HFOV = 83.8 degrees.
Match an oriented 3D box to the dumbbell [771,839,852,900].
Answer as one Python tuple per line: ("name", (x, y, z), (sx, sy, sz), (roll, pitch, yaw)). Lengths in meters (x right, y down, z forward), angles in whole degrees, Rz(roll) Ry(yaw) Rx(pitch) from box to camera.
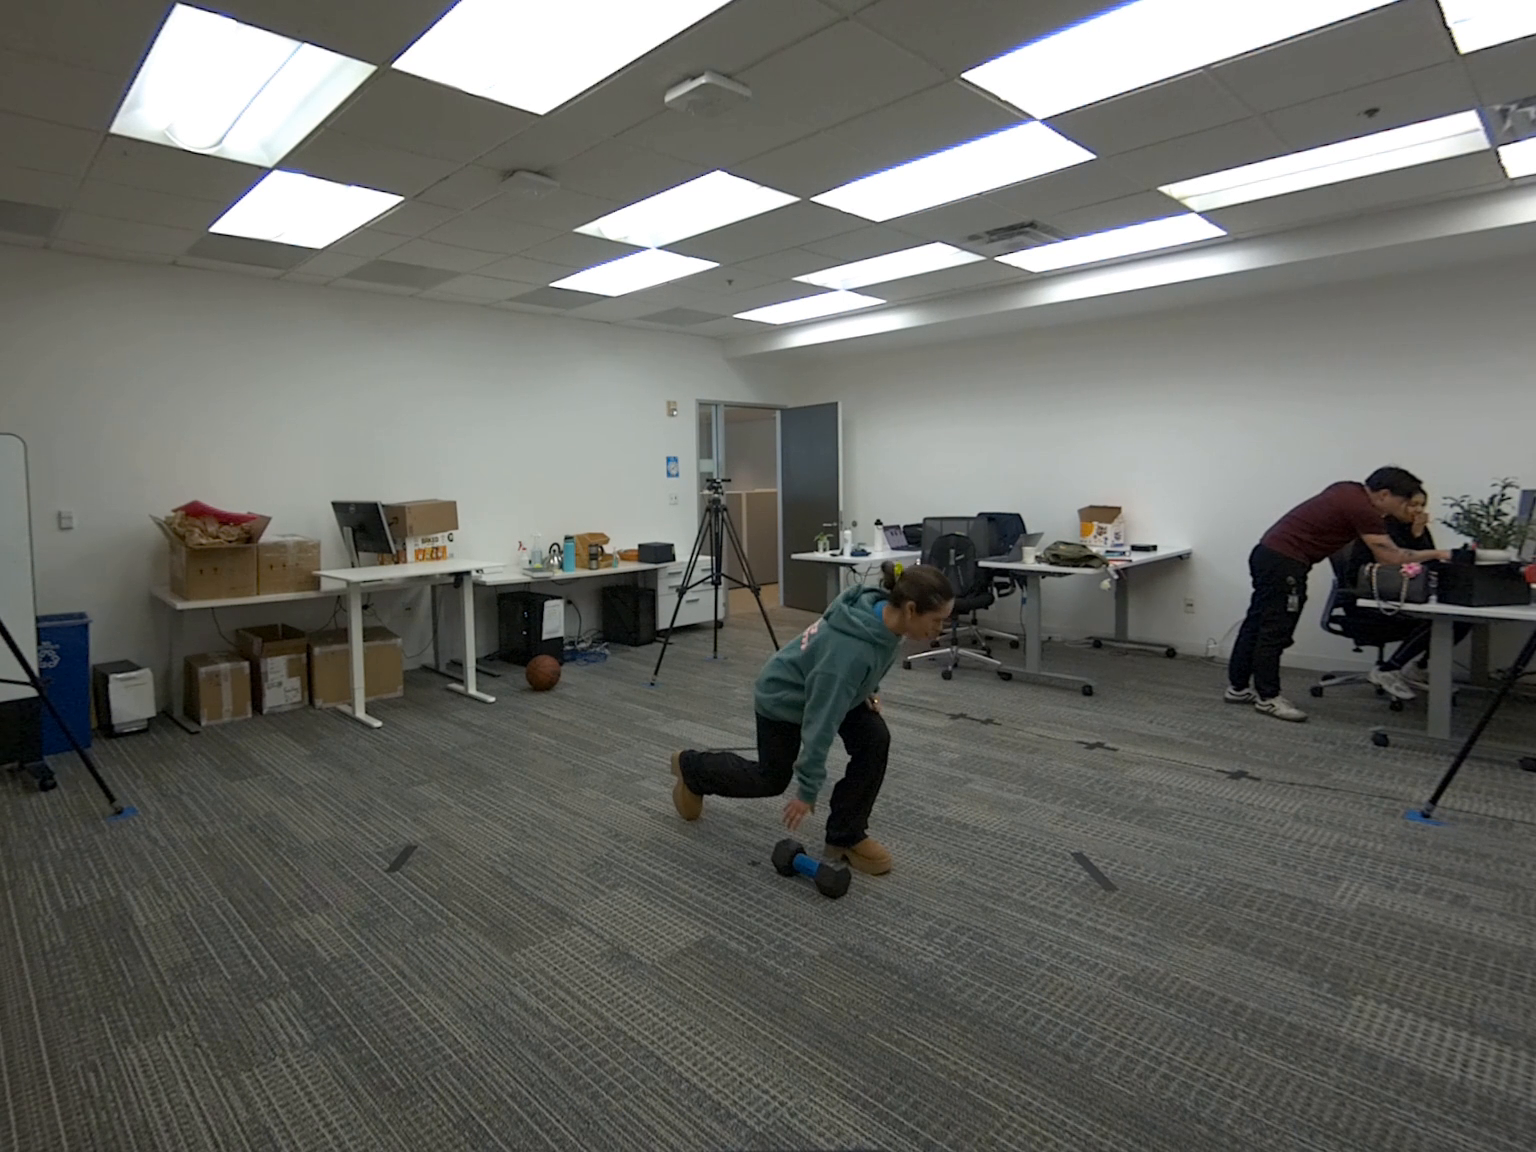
("dumbbell", (0.150, 1.004, 2.943), (0.302, 0.120, 0.108), (4, 37, 49))
